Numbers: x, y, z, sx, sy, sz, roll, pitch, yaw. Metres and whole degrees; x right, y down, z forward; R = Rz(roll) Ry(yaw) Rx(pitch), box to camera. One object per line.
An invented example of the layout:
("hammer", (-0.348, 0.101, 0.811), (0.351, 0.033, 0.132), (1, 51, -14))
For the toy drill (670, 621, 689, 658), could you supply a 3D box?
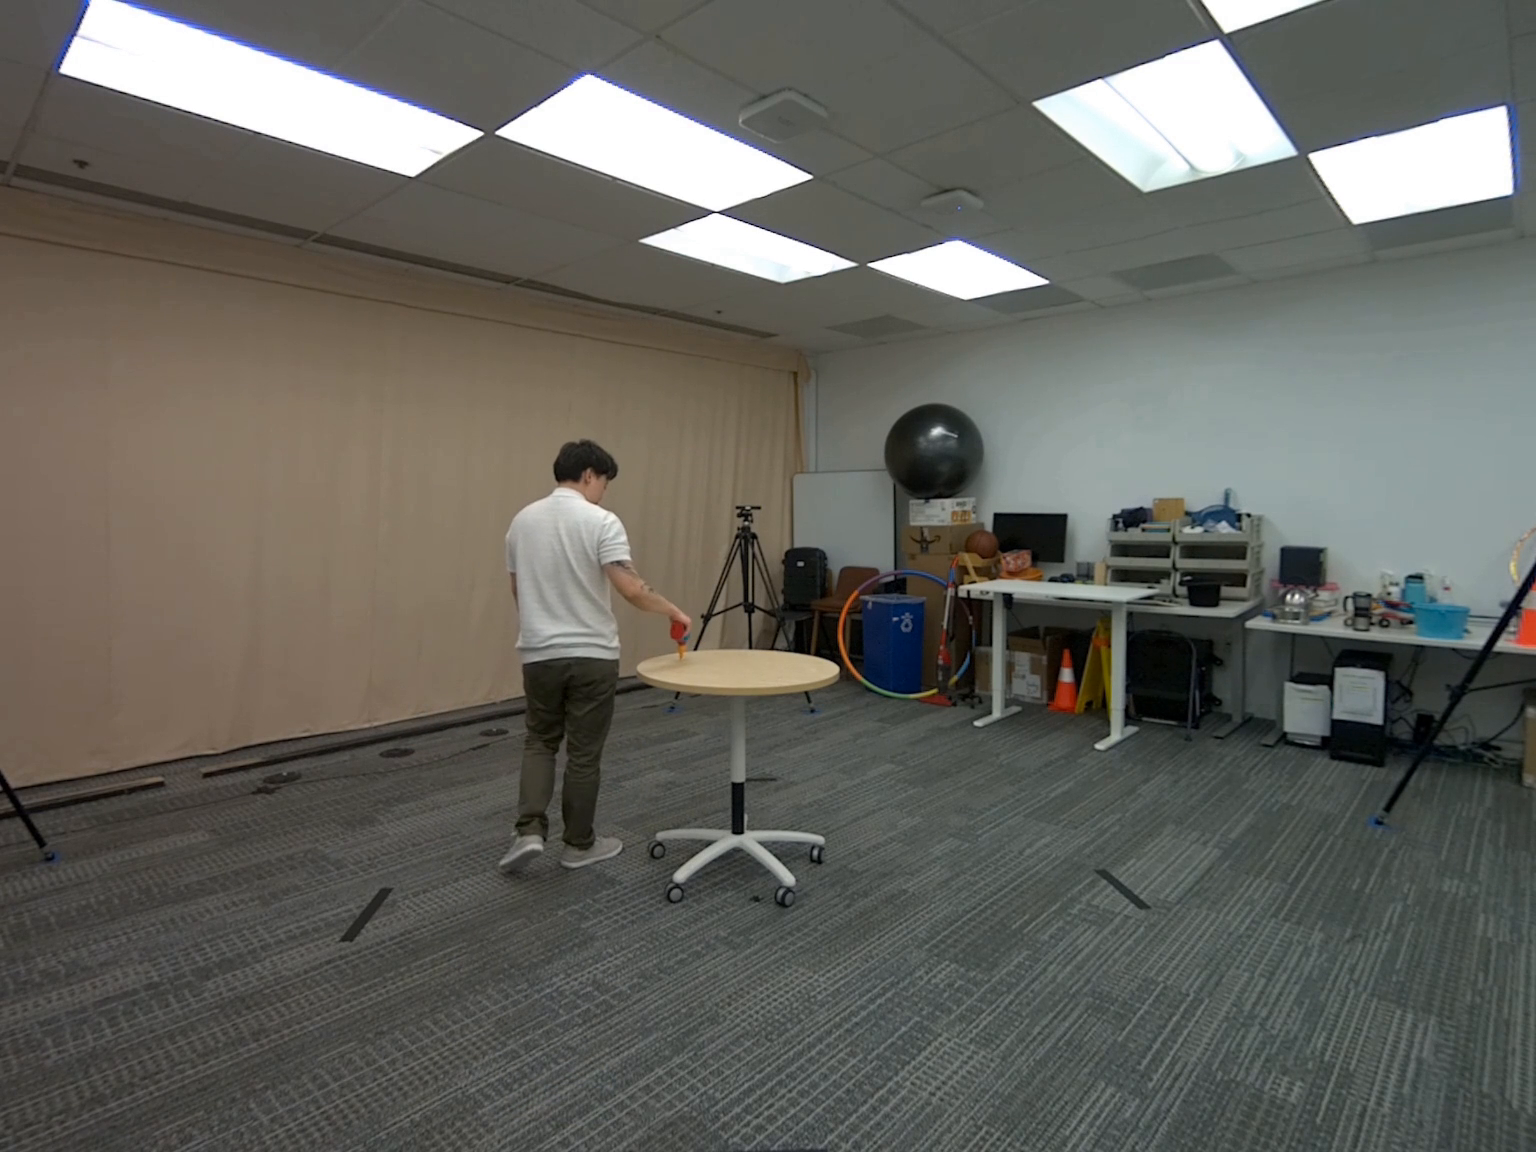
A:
("toy drill", (-0.328, 0.234, 3.280), (0.062, 0.169, 0.145), (2, 3, 6))
